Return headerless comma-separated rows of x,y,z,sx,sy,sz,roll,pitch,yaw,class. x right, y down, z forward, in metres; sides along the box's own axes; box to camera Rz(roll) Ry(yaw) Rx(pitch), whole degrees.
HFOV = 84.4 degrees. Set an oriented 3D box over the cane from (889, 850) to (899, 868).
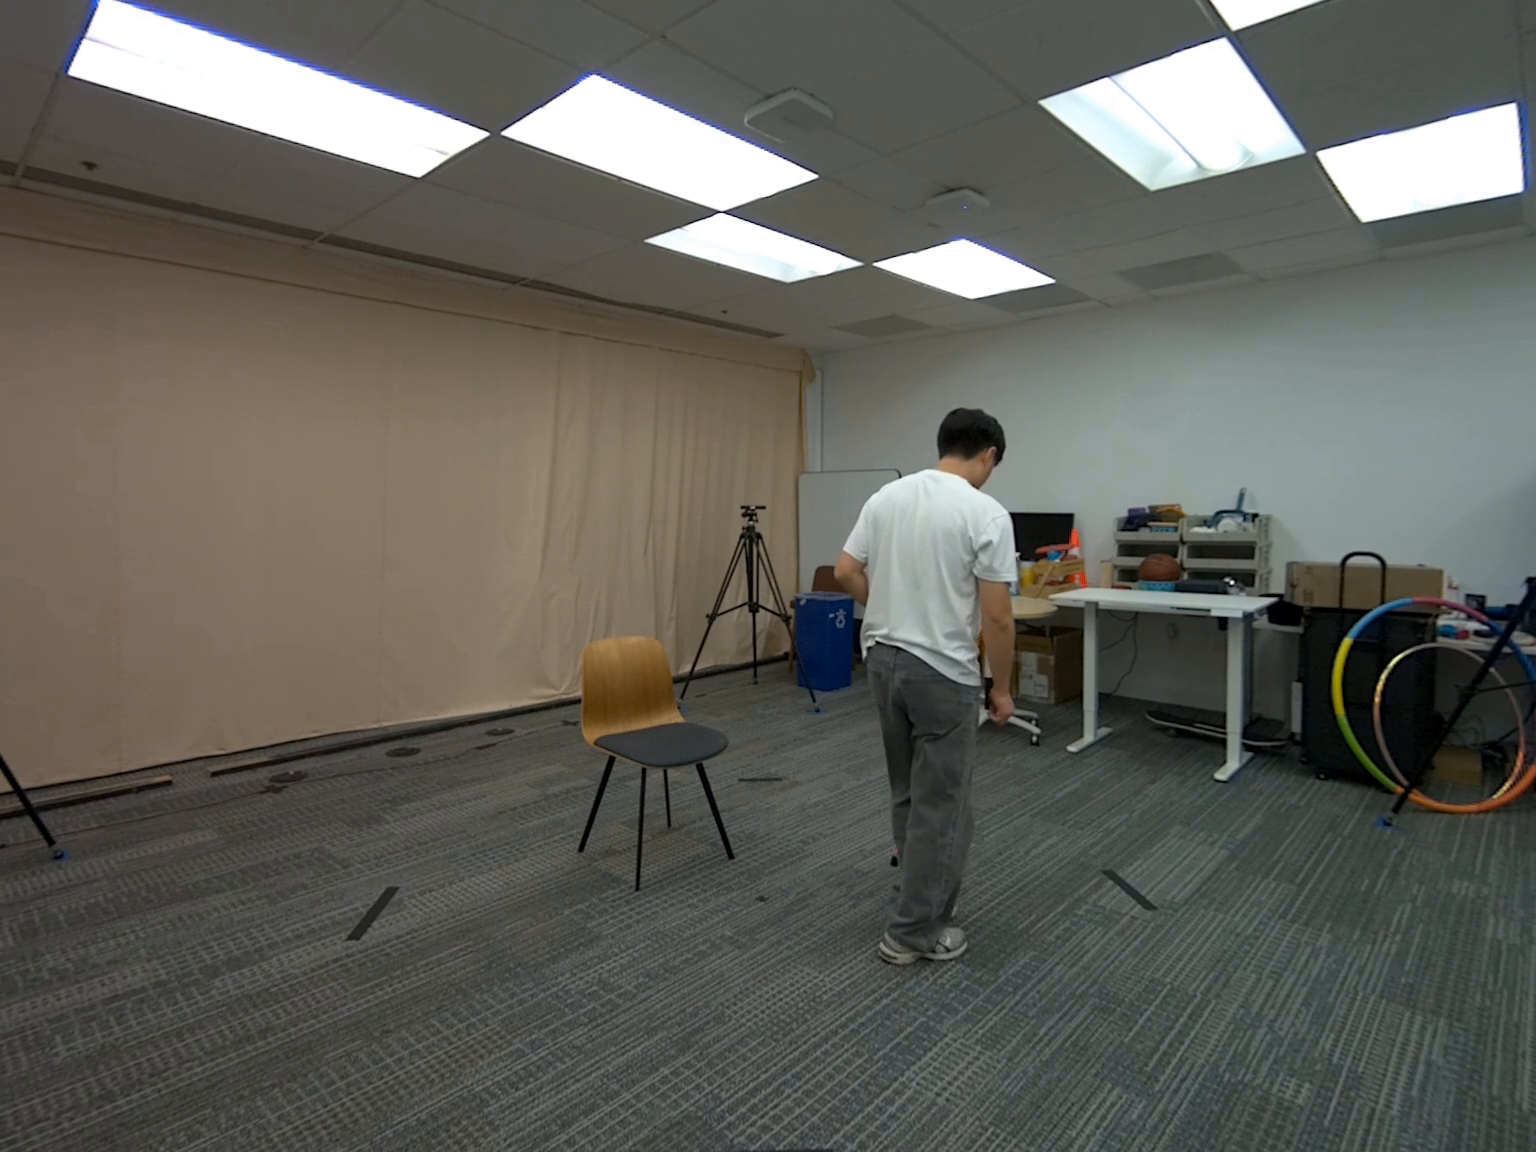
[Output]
0.520,0.588,2.975,0.201,0.902,0.157,-12,11,-42,cane
